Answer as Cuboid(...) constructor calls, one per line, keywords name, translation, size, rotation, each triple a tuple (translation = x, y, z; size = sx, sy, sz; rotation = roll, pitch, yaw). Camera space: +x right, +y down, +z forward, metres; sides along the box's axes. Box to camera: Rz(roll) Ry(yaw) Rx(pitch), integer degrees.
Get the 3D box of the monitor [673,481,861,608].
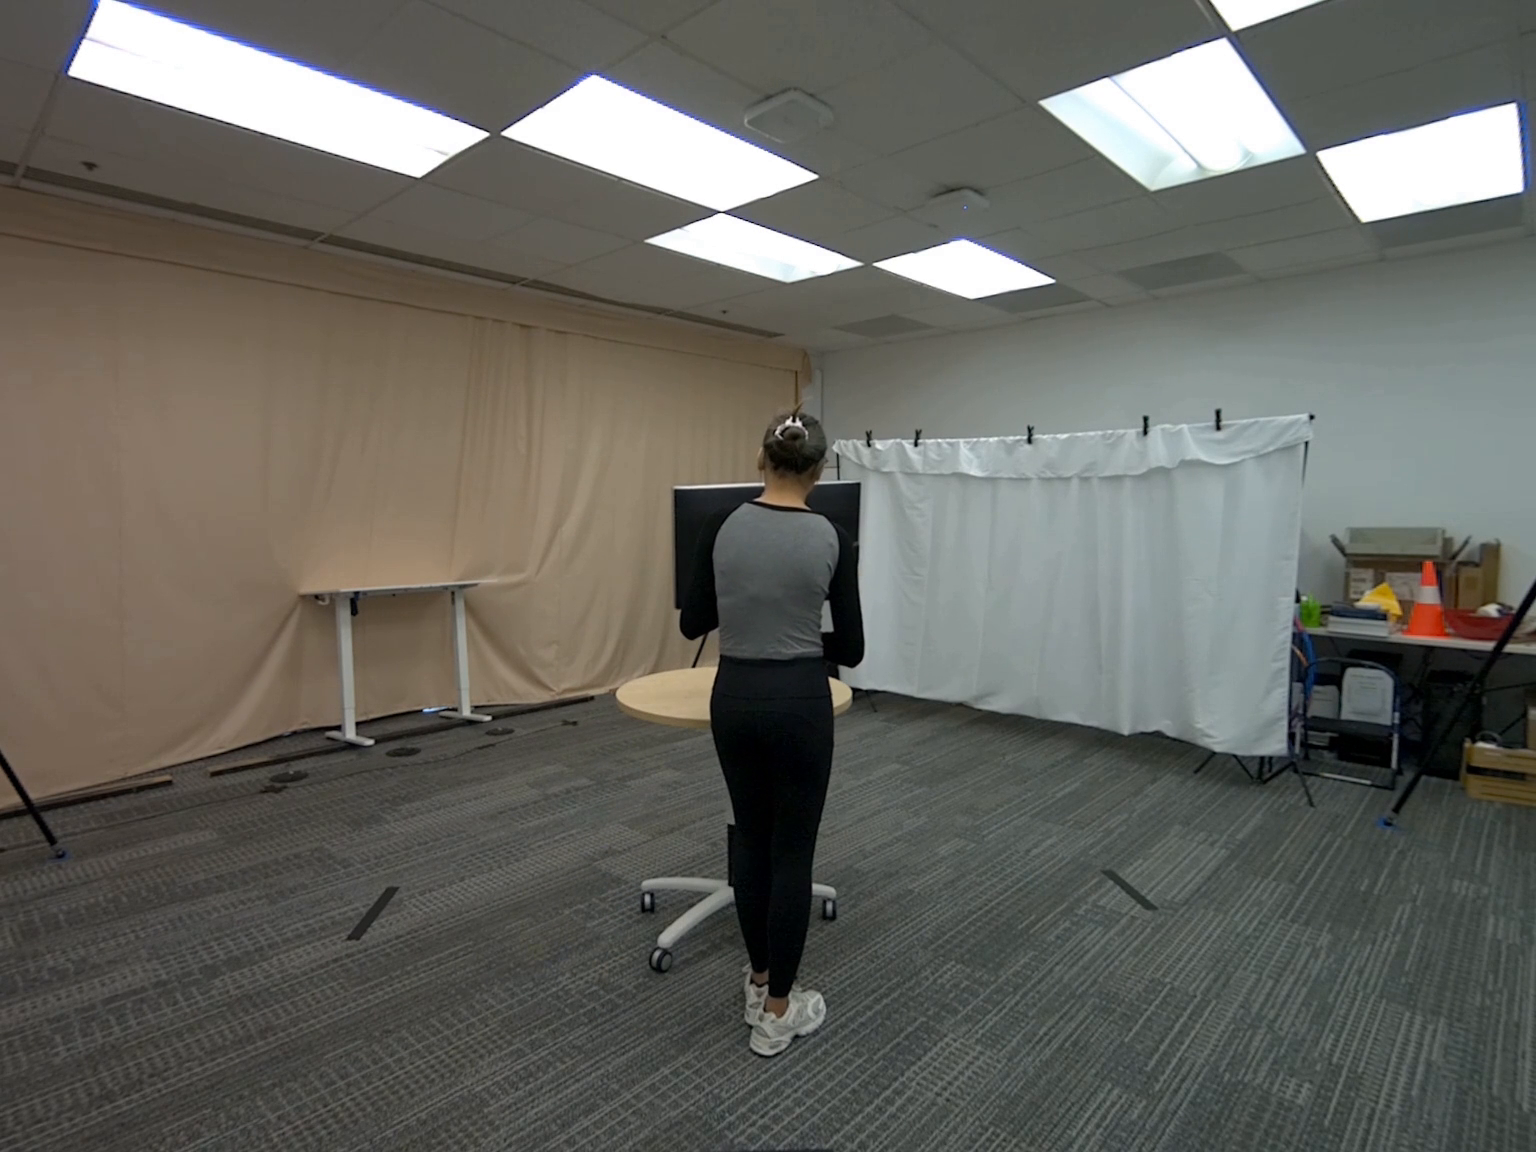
Cuboid(name="monitor", translation=(0.018, -0.009, 2.423), size=(0.532, 0.521, 0.190), rotation=(-3, 3, -13))
